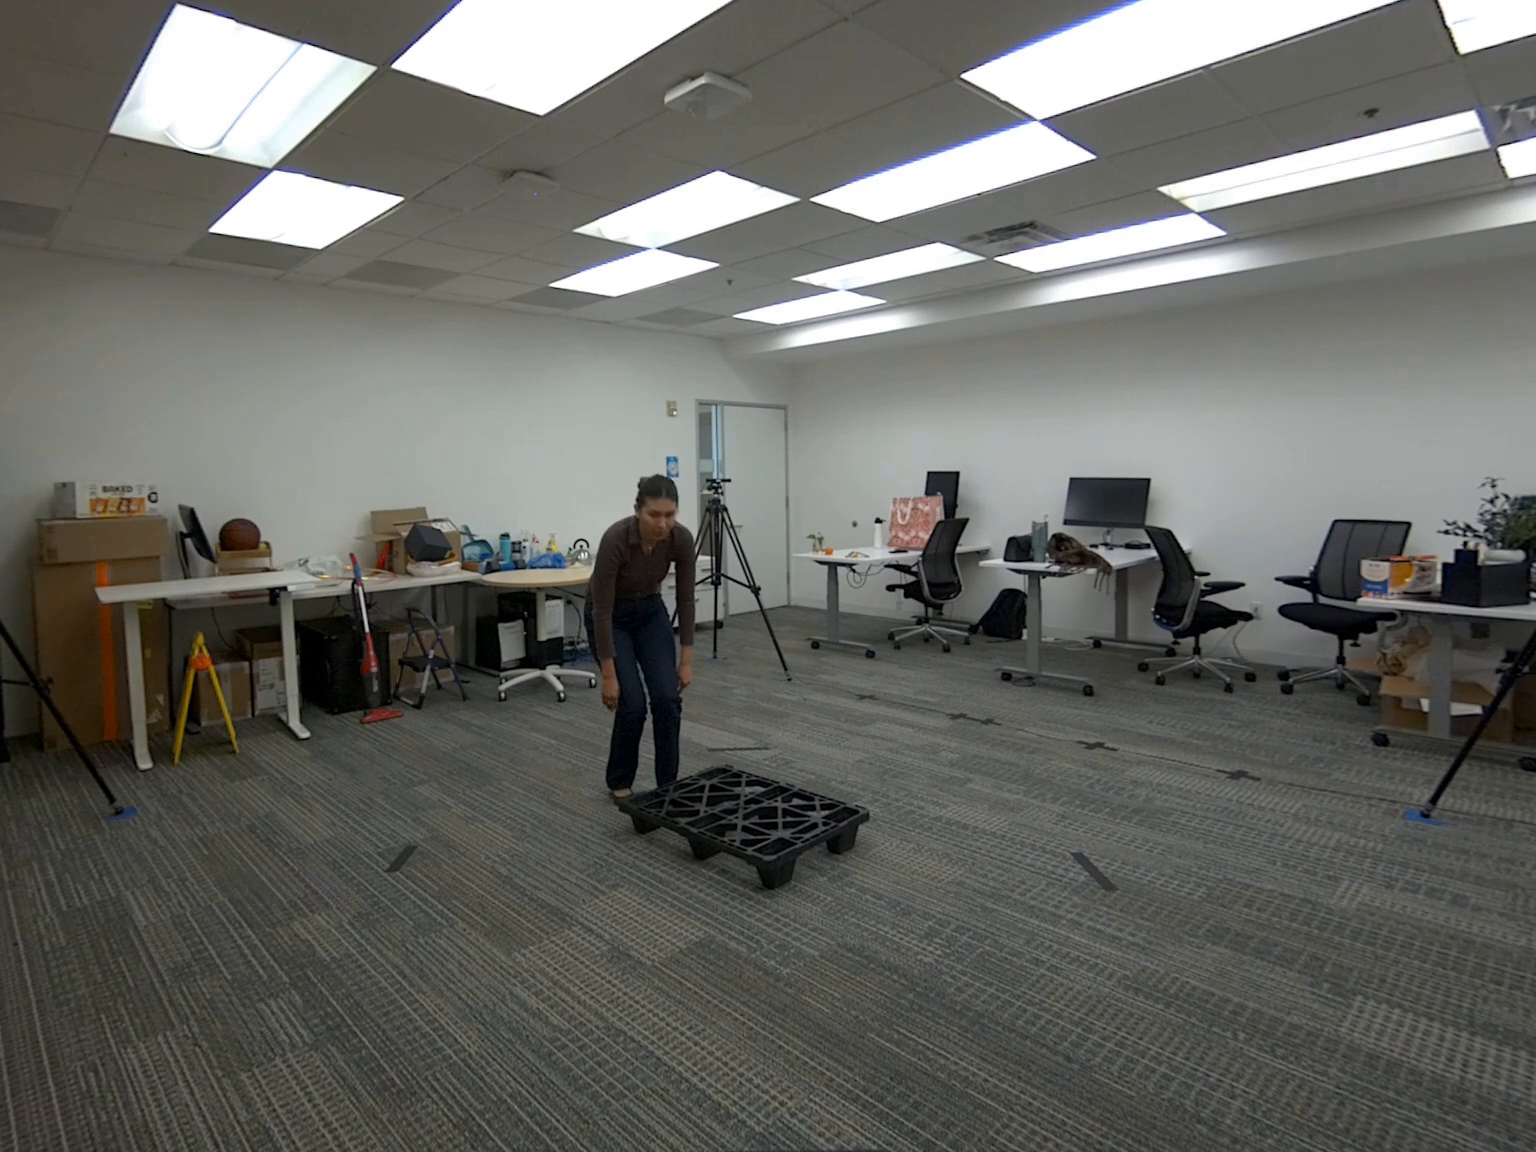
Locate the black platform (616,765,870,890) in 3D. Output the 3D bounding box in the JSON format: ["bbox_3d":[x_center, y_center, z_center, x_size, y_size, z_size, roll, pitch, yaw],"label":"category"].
[{"bbox_3d":[-0.100,0.954,3.317,0.830,0.143,0.589,5,8,43],"label":"black platform"}]
